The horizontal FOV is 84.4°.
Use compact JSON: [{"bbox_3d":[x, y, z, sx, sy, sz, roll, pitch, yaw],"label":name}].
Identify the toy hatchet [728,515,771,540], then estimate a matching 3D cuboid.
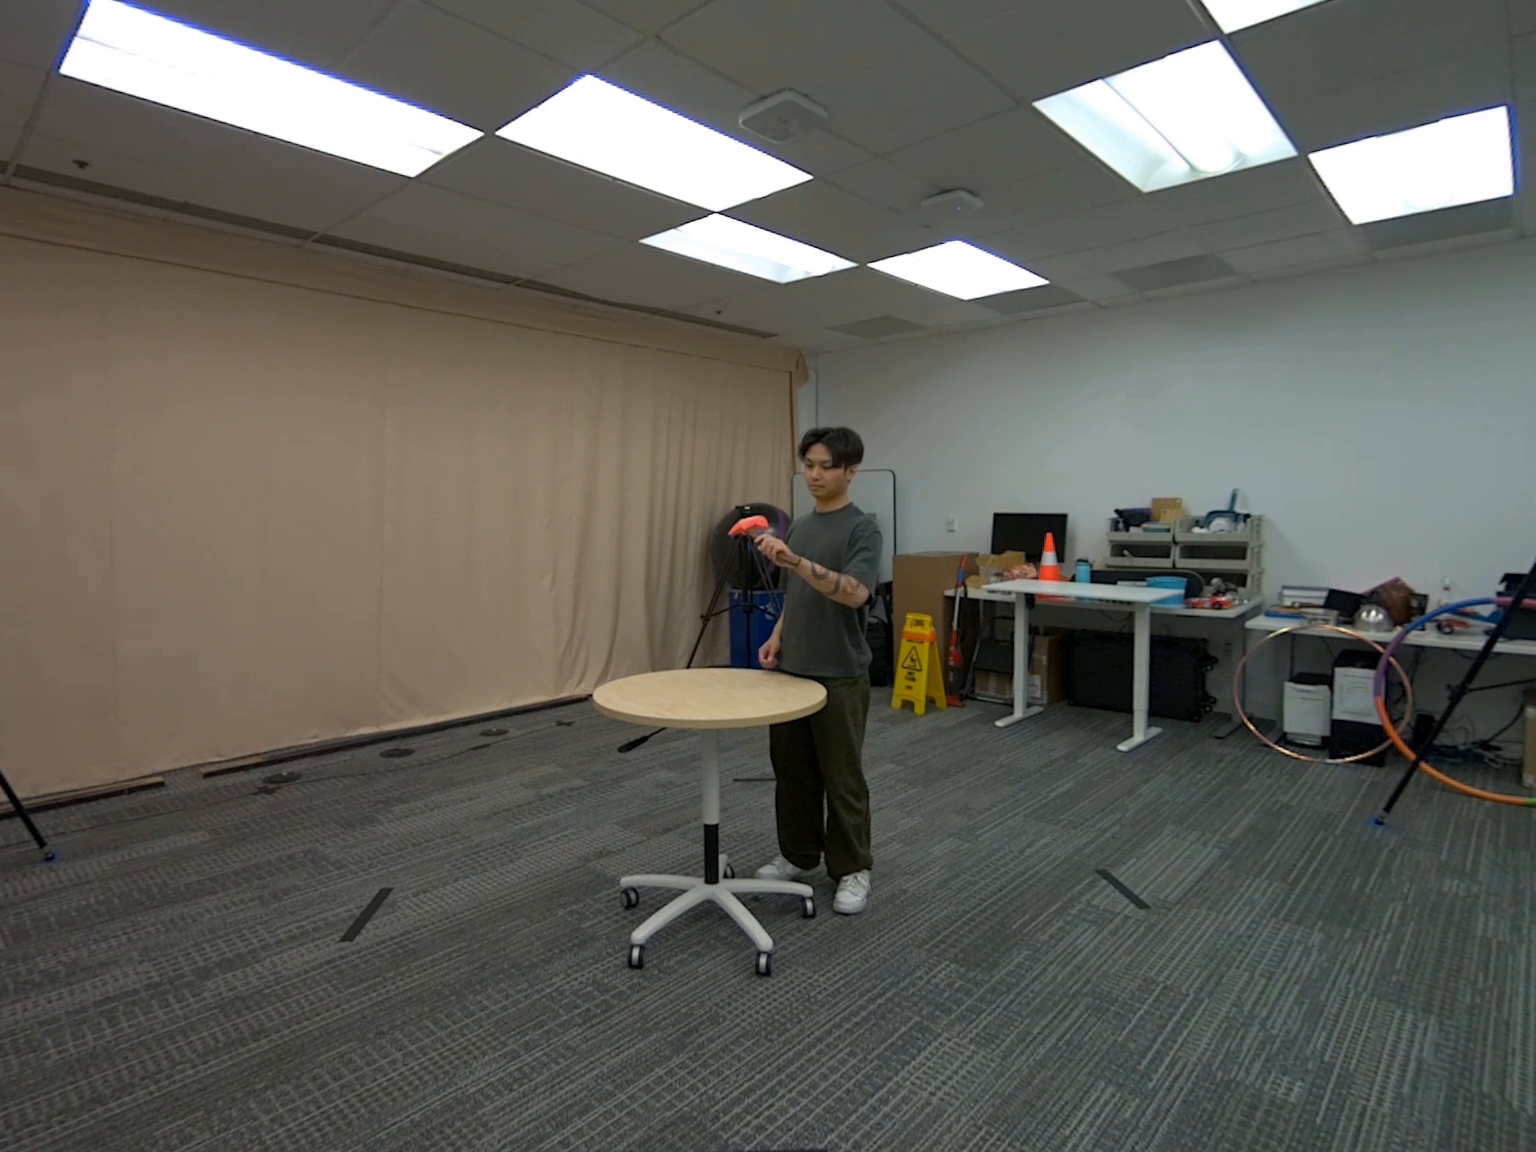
[{"bbox_3d":[0.019,-0.126,2.691,0.278,0.029,0.130,26,53,28],"label":"toy hatchet"}]
